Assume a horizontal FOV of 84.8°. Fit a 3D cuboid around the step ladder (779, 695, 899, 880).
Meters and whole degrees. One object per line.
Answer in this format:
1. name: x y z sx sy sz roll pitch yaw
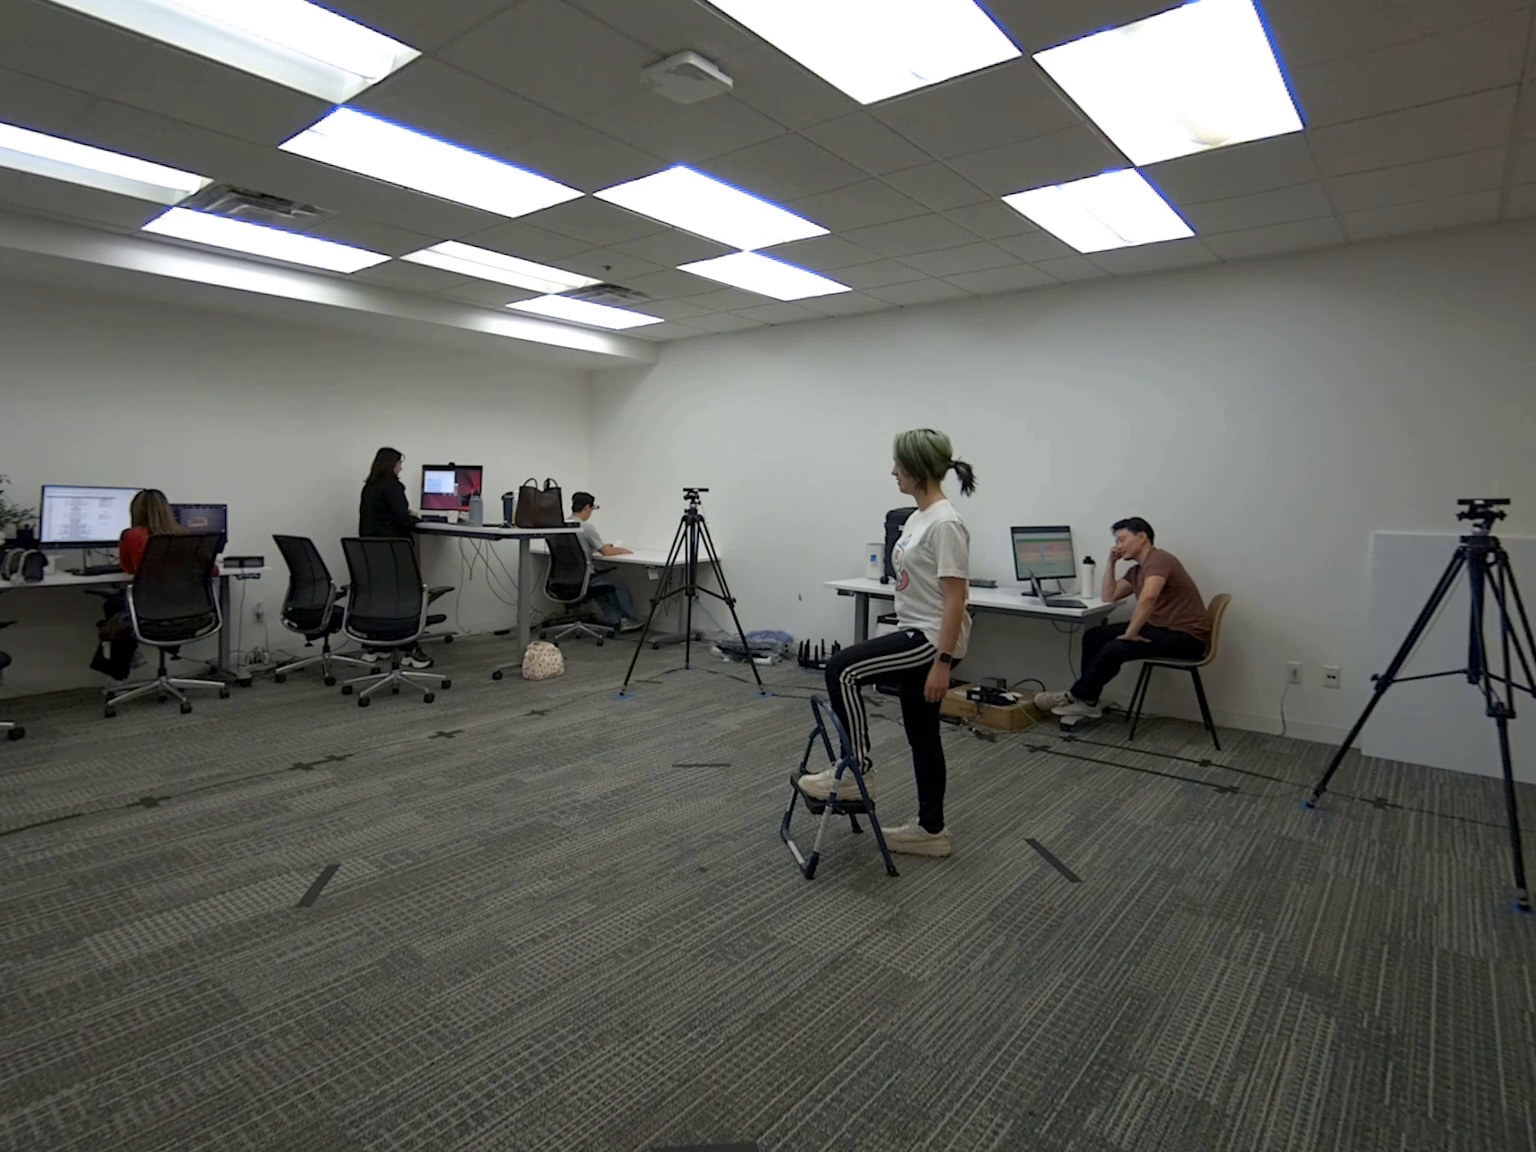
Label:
1. step ladder: 0.259 0.768 3.257 0.345 0.604 0.437 1 4 -13
